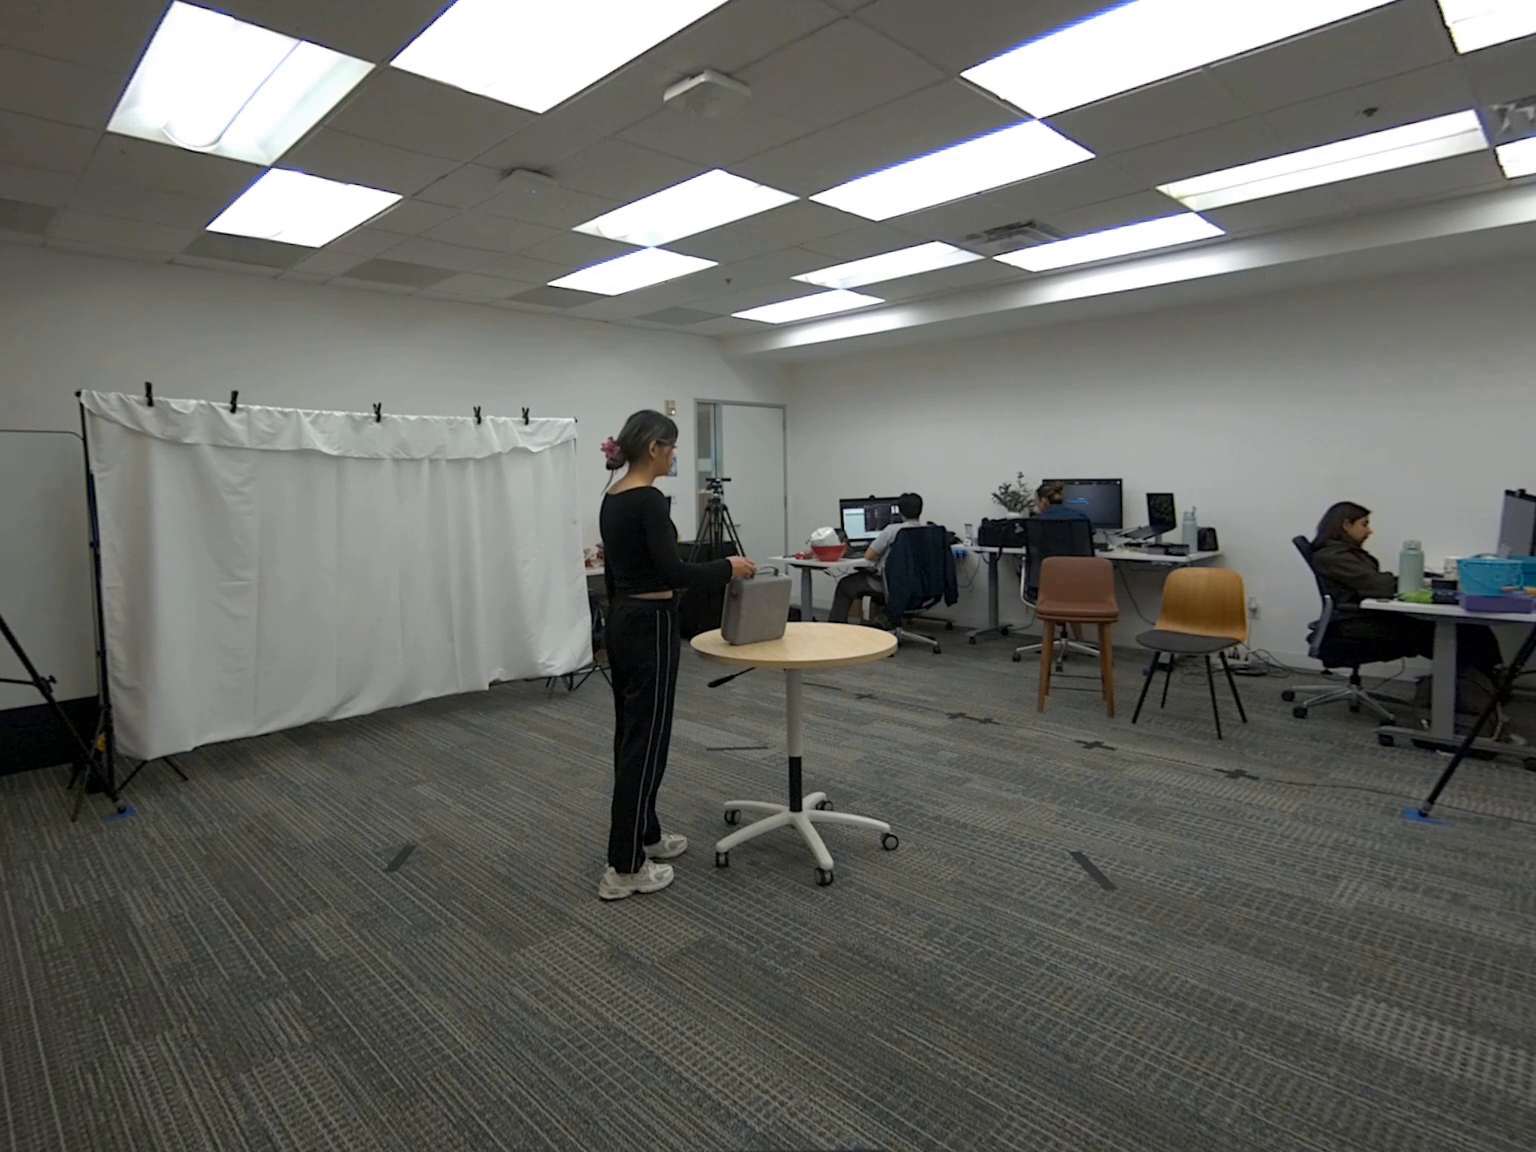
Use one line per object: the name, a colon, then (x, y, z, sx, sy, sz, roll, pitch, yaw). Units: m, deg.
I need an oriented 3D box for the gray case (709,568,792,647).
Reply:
gray case: (-0.041, 0.112, 3.155, 0.250, 0.258, 0.108, -5, 17, -37)
